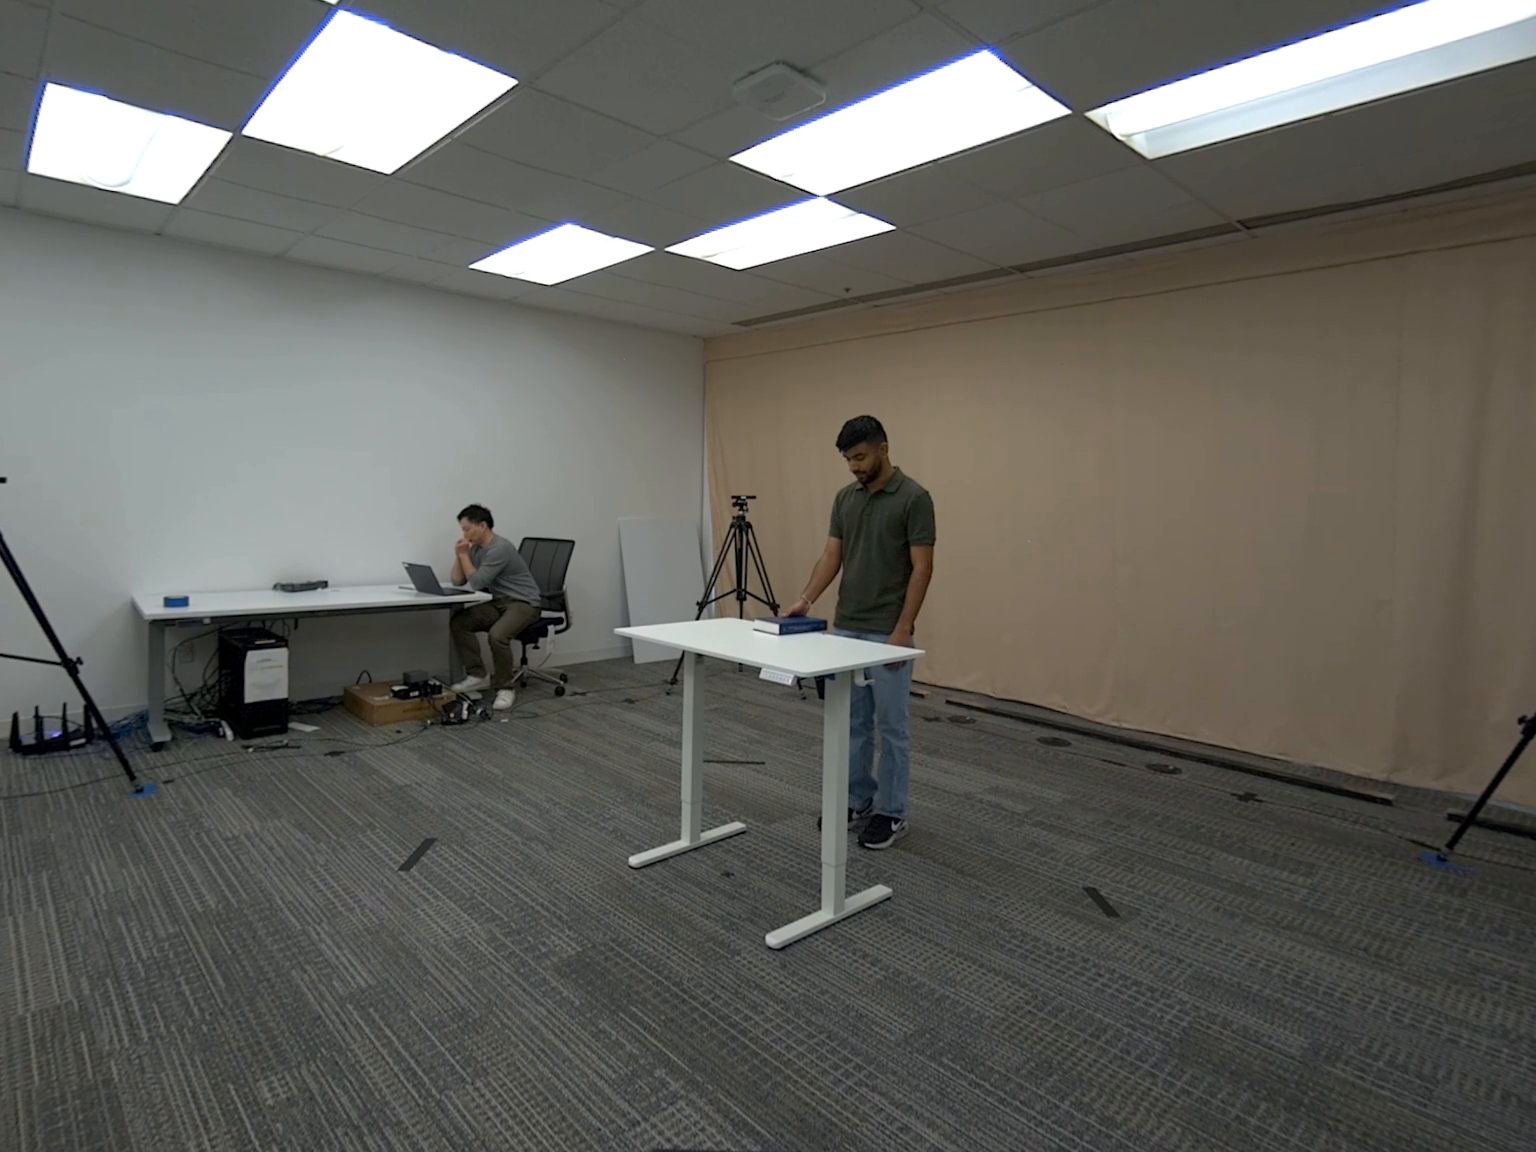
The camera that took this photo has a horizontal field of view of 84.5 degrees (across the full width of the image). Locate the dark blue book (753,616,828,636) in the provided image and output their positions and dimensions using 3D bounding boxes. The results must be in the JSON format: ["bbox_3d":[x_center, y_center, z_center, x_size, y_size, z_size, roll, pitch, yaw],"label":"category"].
[{"bbox_3d":[0.079,0.191,3.265,0.240,0.045,0.167,-1,4,-34],"label":"dark blue book"}]
